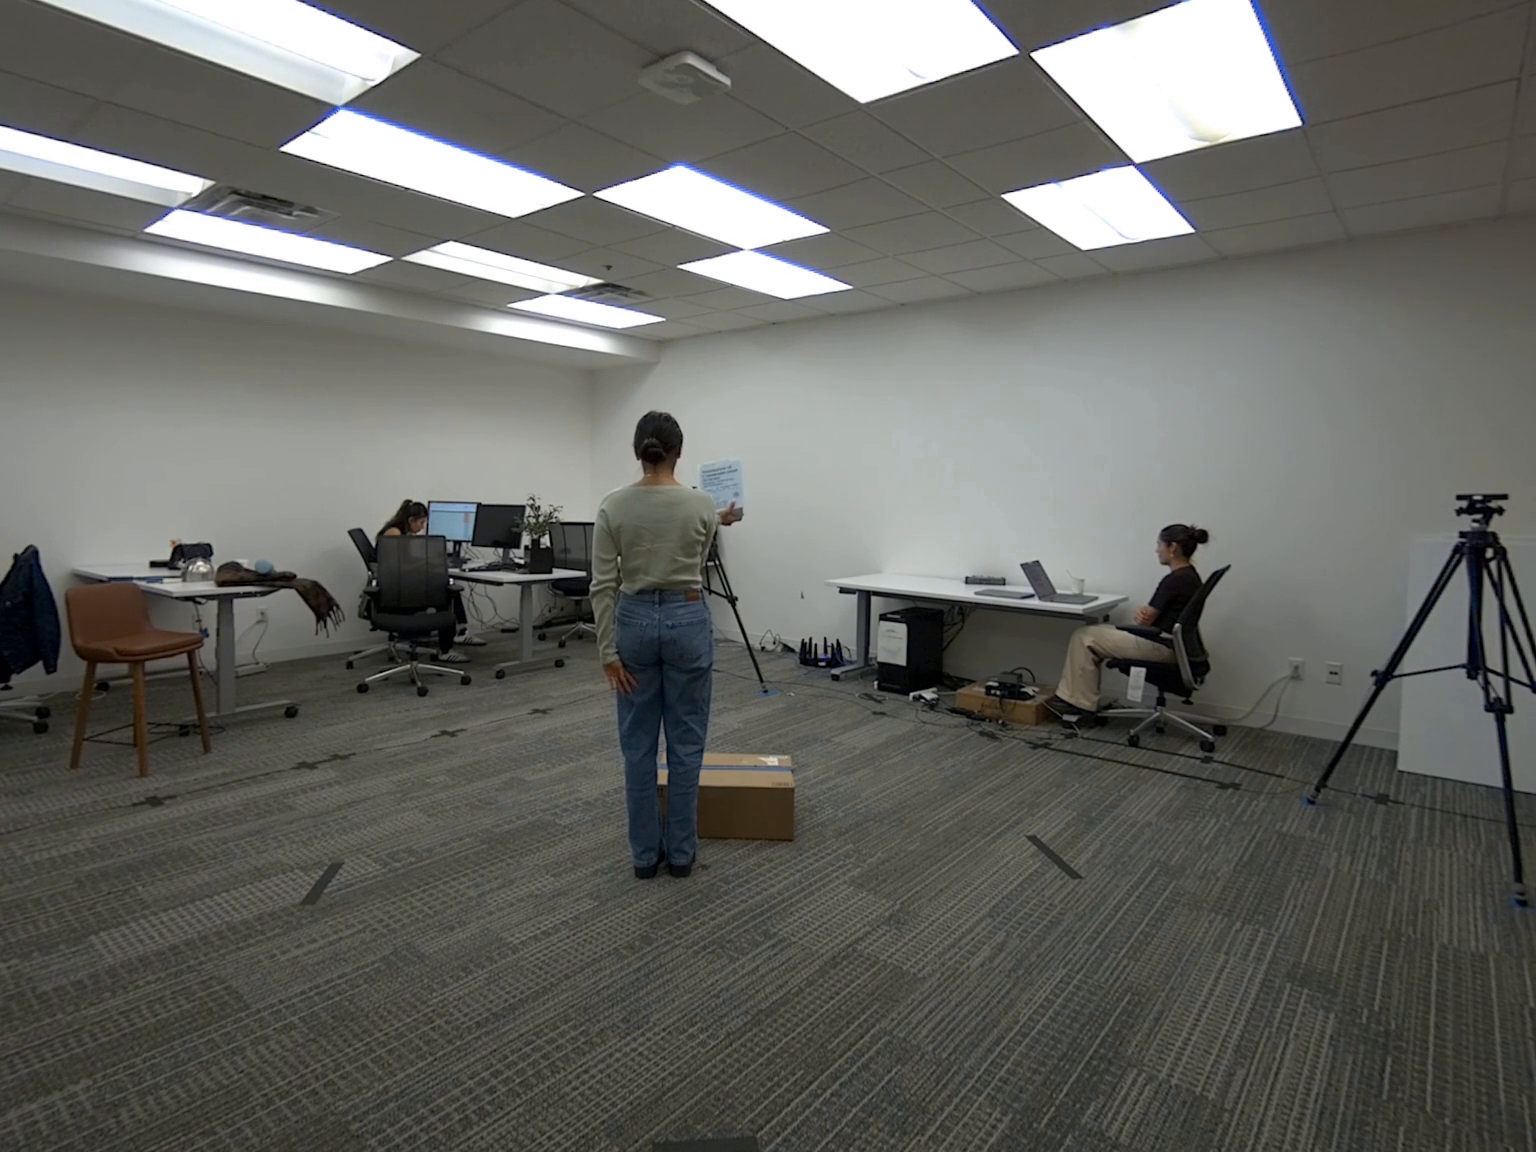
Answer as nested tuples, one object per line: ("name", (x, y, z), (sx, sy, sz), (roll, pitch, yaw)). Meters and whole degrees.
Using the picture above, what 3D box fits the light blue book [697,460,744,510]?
("light blue book", (-0.199, -0.352, 3.437), (0.193, 0.268, 0.057), (-9, -33, 9))
